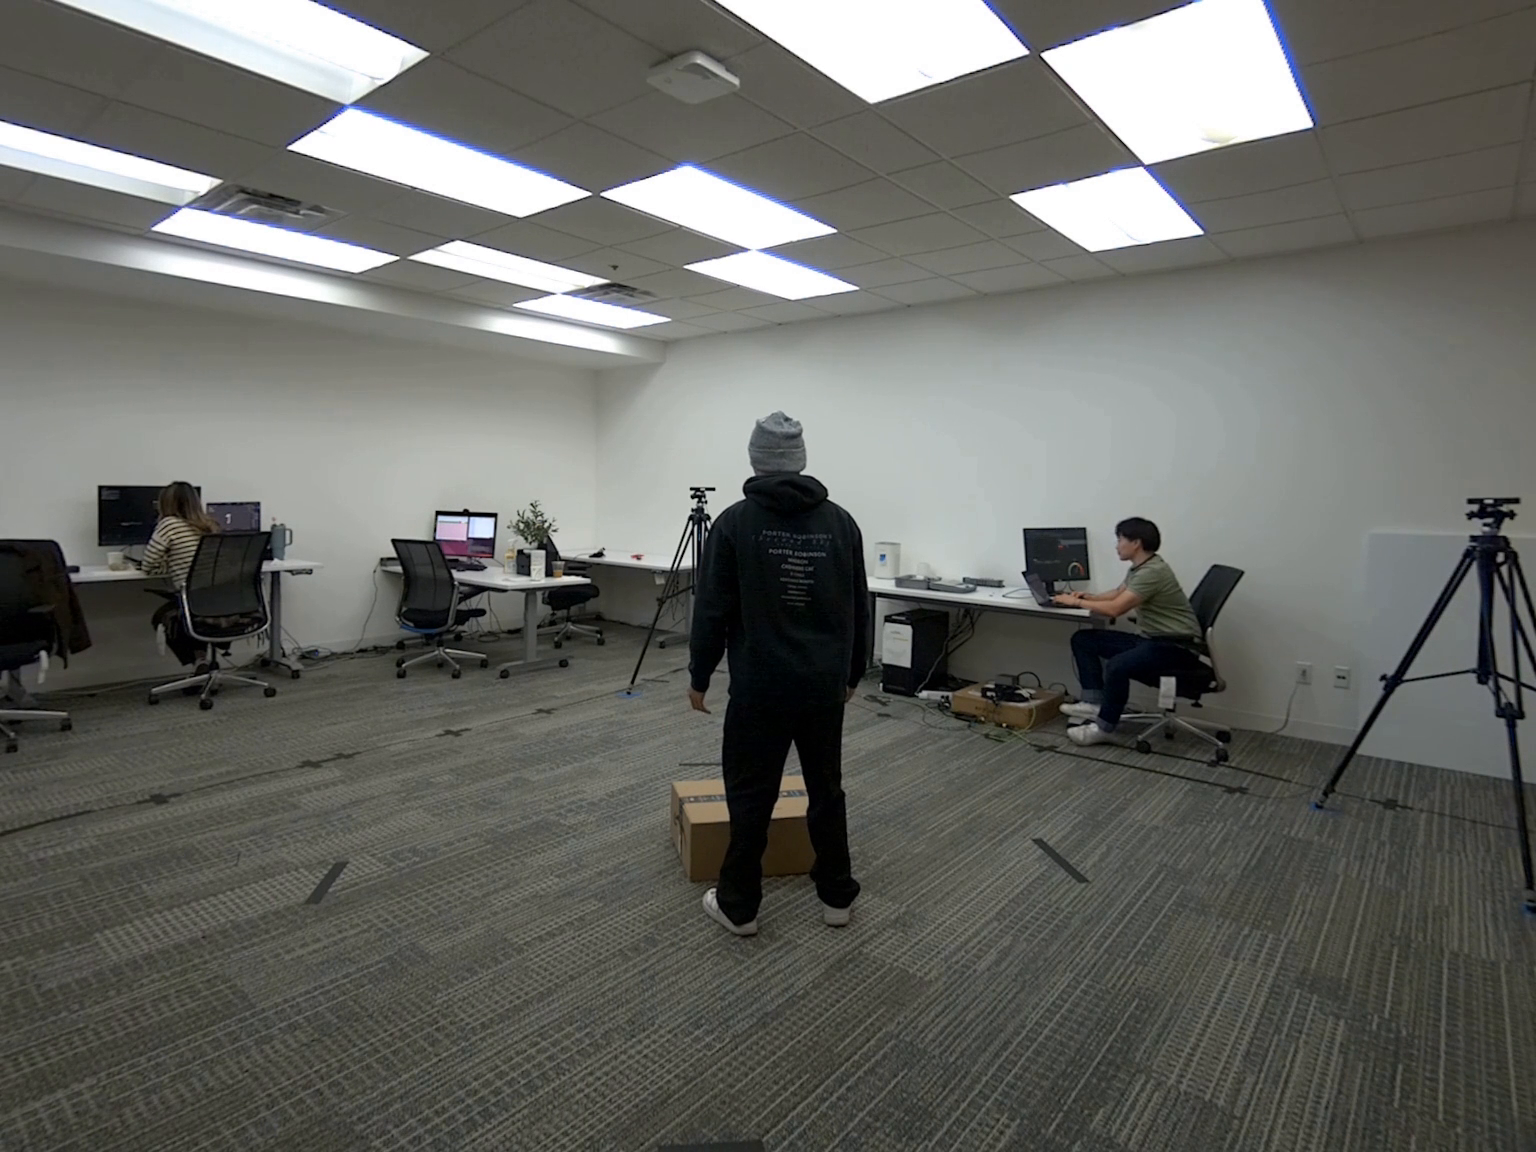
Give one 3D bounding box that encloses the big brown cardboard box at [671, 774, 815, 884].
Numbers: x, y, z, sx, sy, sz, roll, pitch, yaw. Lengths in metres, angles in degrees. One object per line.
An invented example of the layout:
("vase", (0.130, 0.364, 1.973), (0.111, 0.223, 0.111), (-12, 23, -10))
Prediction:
("big brown cardboard box", (-0.065, 0.941, 3.240), (0.581, 0.232, 0.425), (1, 6, -13))
